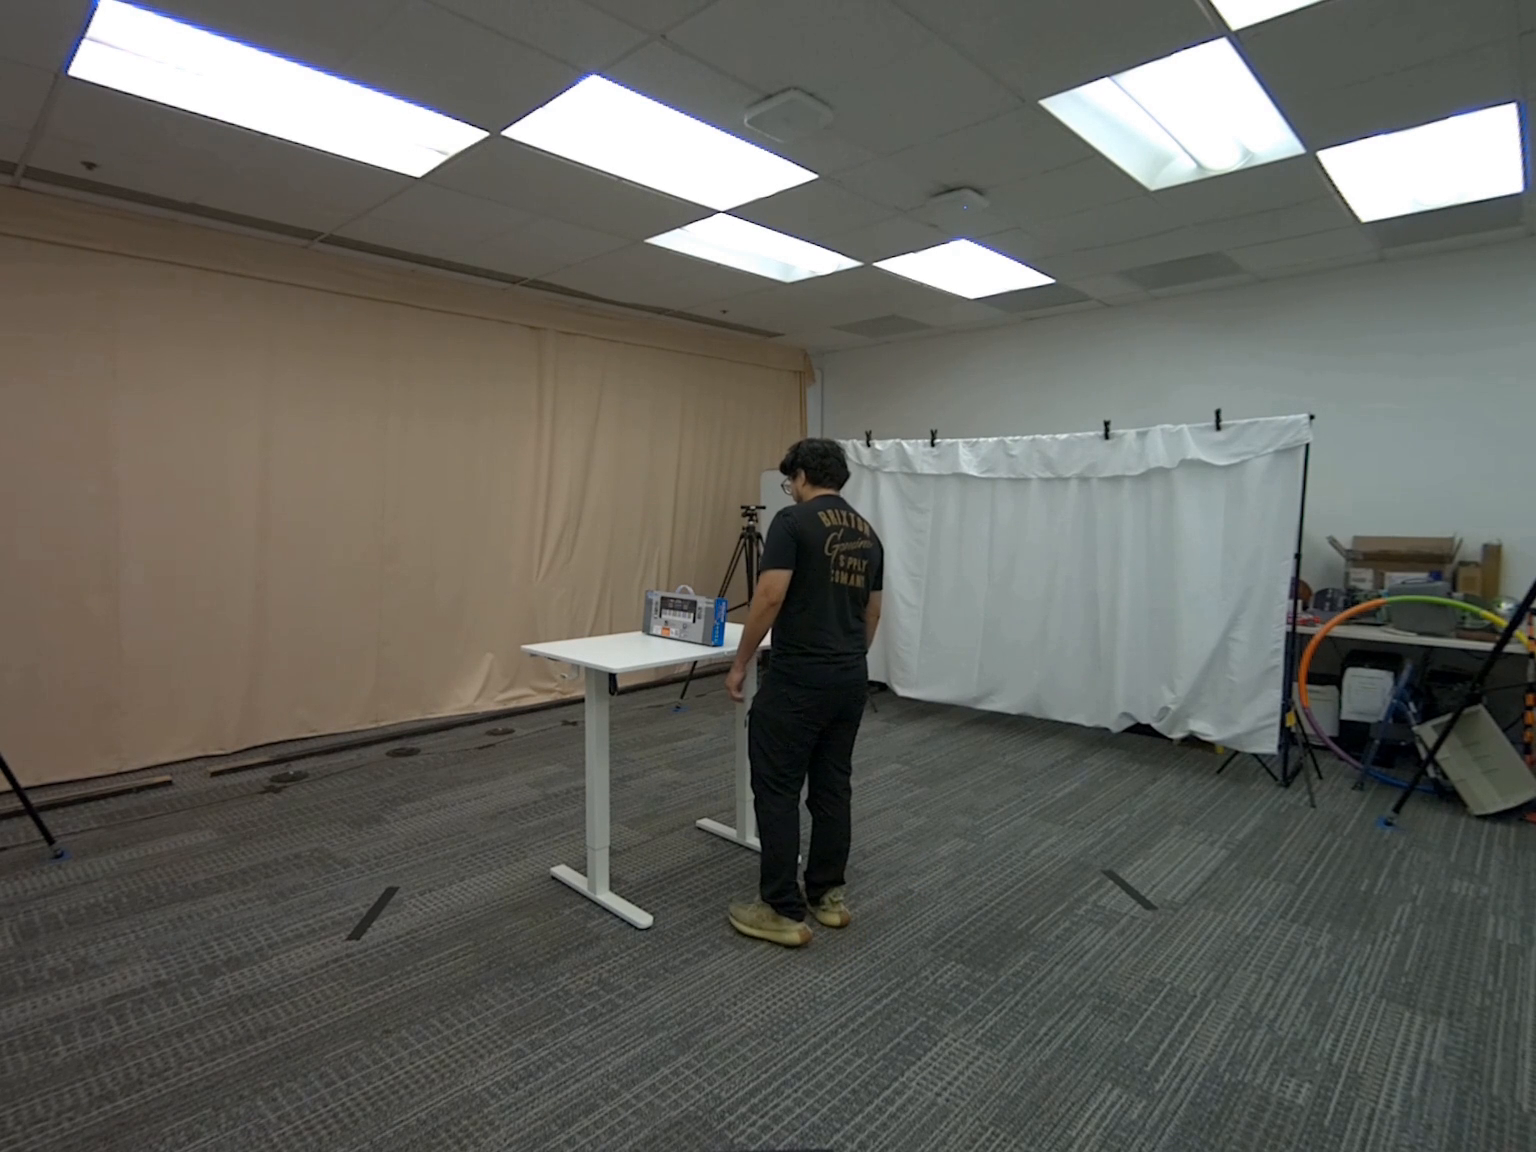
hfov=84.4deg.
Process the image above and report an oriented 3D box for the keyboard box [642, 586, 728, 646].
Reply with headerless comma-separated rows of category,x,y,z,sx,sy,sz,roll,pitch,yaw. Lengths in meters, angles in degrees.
keyboard box,-0.323,0.157,3.215,0.057,0.176,0.451,7,-2,-43
